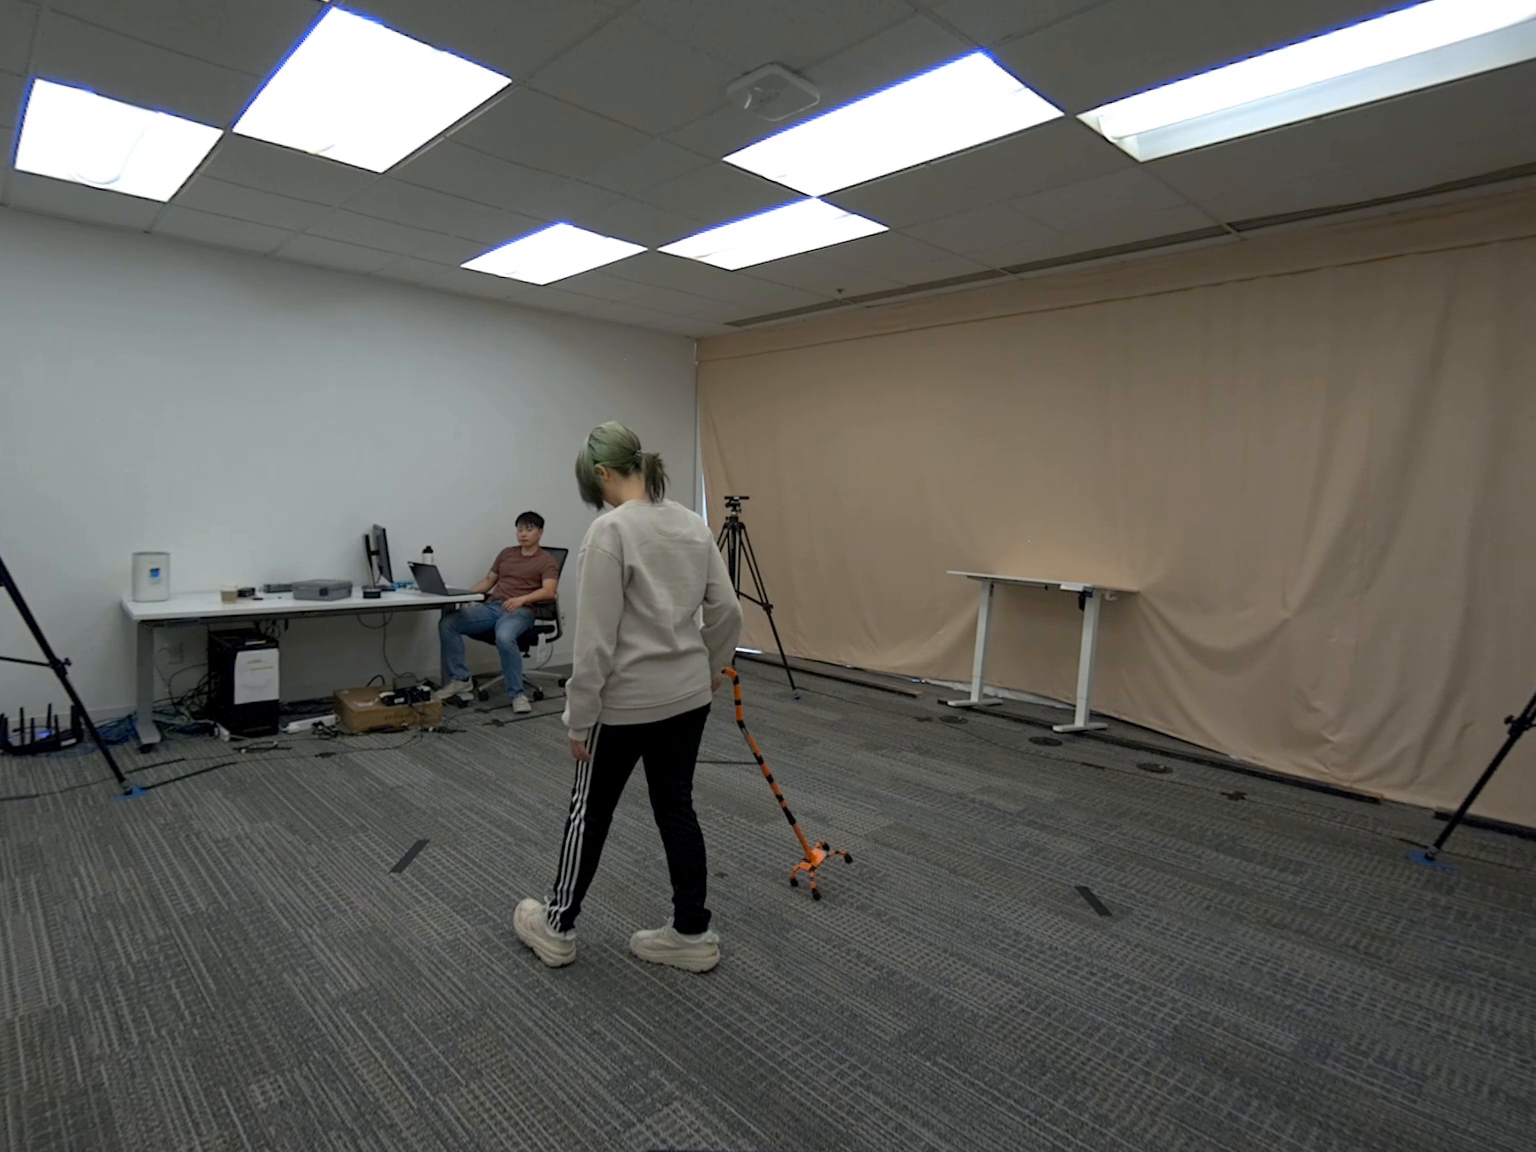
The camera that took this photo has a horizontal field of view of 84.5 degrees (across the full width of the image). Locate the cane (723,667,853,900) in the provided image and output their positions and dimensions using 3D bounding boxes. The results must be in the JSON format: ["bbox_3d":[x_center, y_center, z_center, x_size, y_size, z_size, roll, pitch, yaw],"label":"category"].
[{"bbox_3d":[0.010,0.689,2.871,0.205,0.890,0.155,-36,23,-29],"label":"cane"}]
